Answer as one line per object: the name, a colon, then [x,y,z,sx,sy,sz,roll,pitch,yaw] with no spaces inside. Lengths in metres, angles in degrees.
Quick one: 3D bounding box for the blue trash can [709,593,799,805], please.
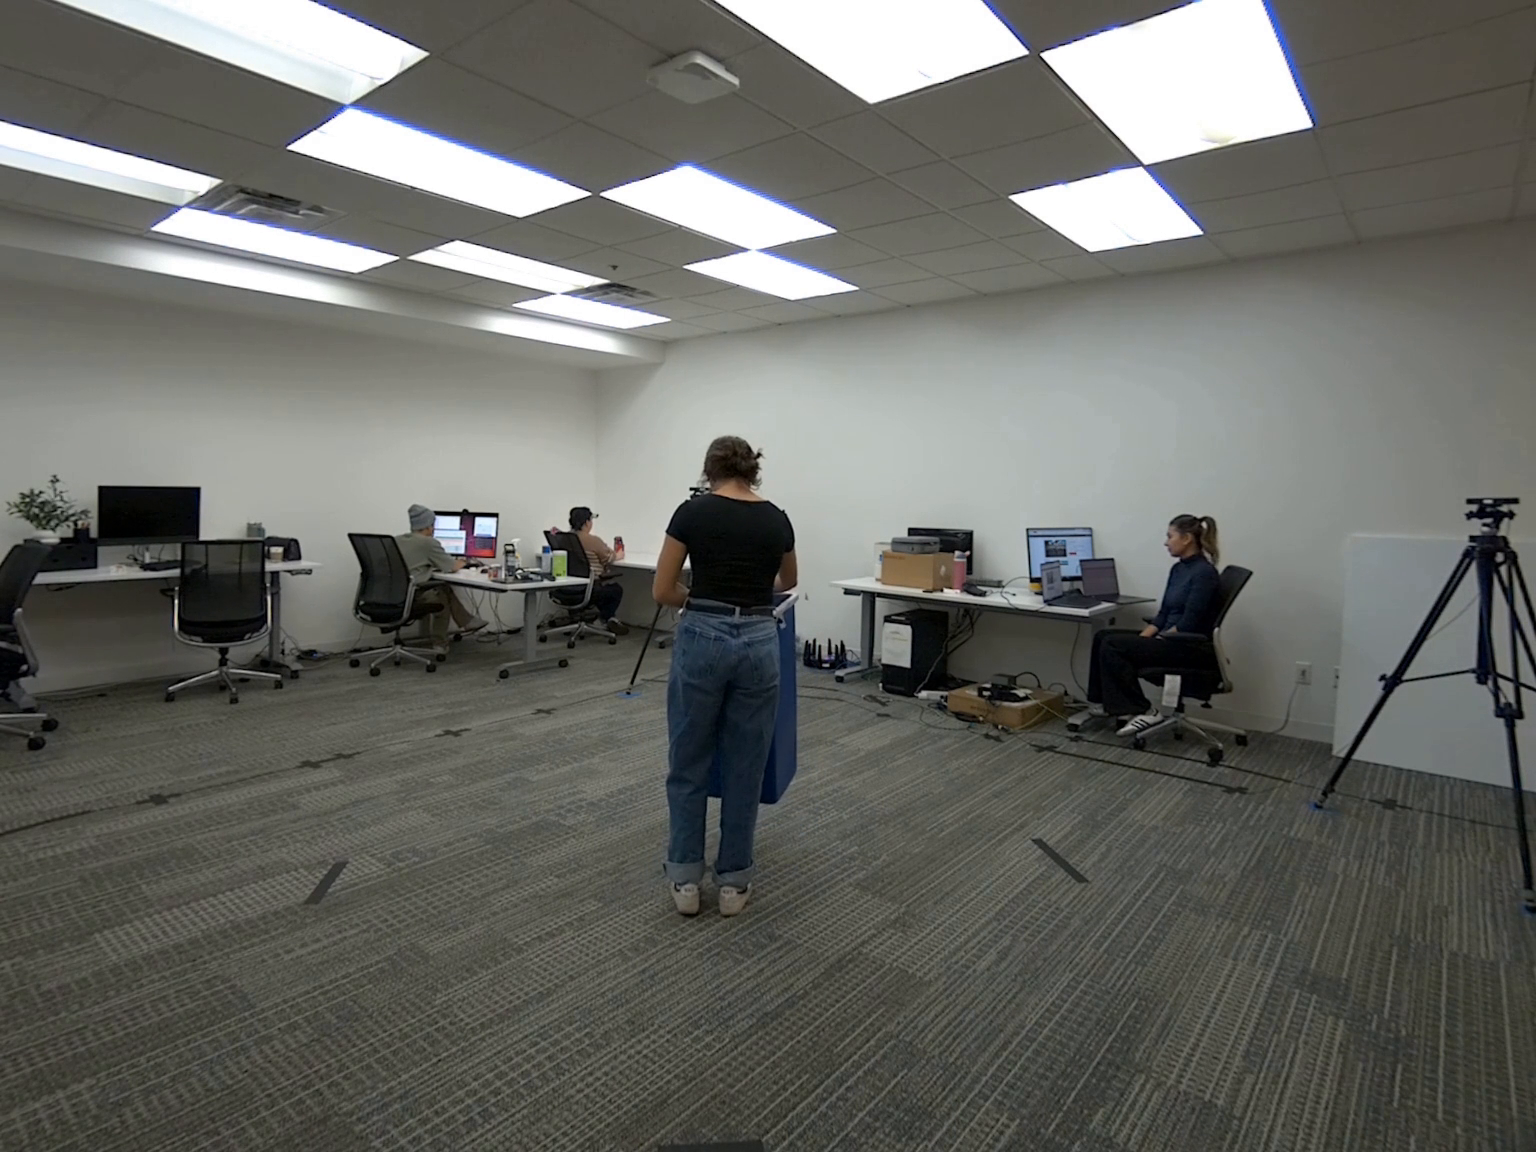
blue trash can: [-0.104,0.446,3.215,0.382,0.708,0.373,1,9,20]
